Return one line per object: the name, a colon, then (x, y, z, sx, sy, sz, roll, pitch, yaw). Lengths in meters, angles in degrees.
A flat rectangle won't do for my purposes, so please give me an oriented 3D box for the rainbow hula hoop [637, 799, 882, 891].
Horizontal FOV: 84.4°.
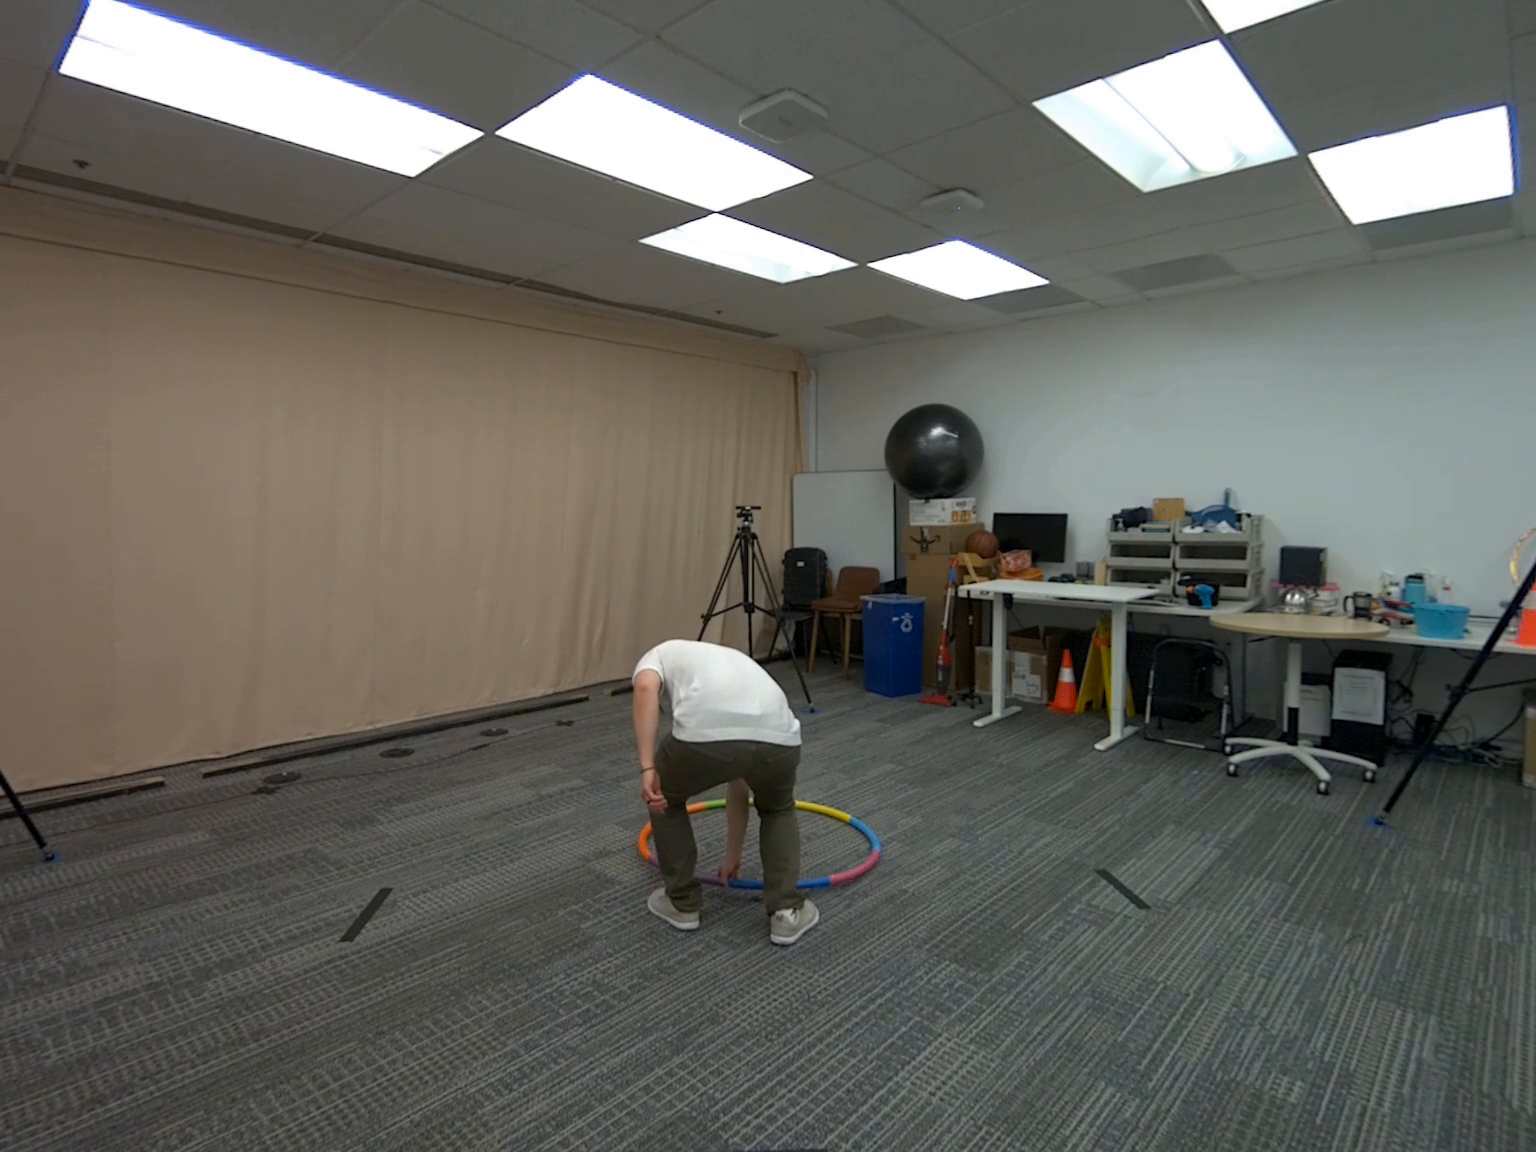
rainbow hula hoop: (-0.041, 1.057, 3.452, 0.978, 0.035, 0.981, 1, 3, -2)
